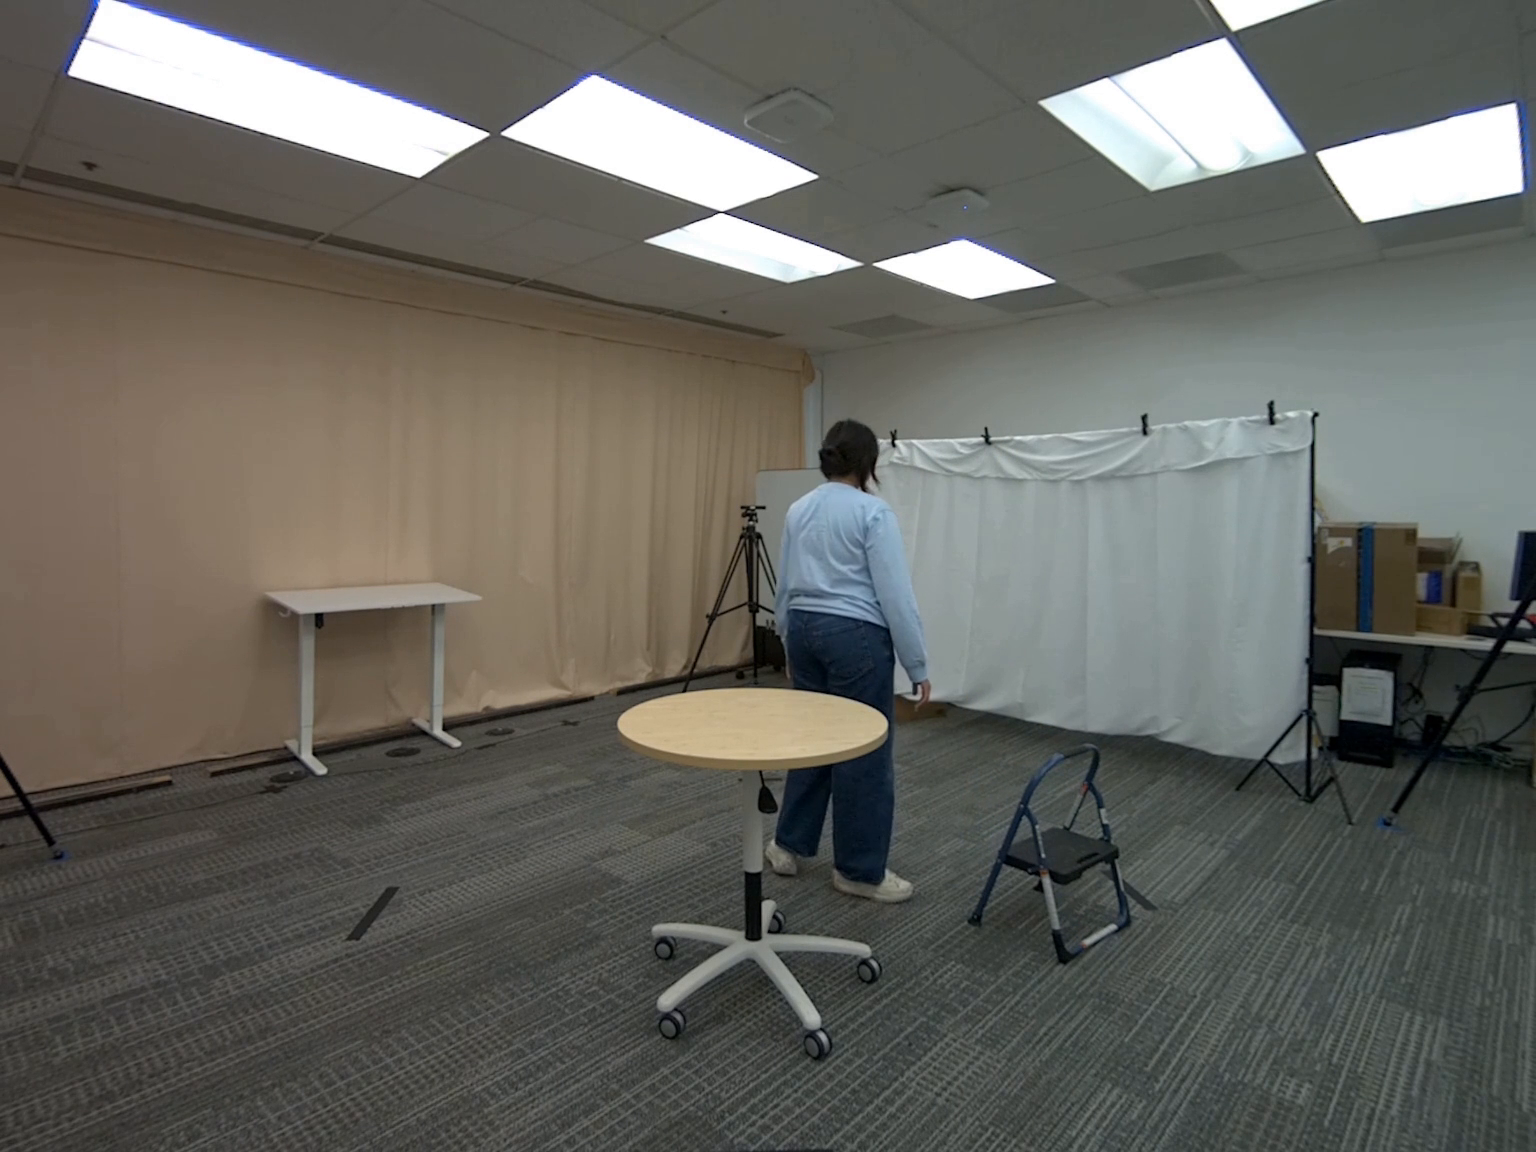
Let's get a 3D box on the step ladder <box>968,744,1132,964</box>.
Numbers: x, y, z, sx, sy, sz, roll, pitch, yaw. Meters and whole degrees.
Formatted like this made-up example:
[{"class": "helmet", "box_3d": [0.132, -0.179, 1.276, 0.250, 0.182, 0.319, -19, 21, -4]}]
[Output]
[{"class": "step ladder", "box_3d": [0.952, 0.856, 2.783, 0.417, 0.605, 0.361, -2, 4, -40]}]
